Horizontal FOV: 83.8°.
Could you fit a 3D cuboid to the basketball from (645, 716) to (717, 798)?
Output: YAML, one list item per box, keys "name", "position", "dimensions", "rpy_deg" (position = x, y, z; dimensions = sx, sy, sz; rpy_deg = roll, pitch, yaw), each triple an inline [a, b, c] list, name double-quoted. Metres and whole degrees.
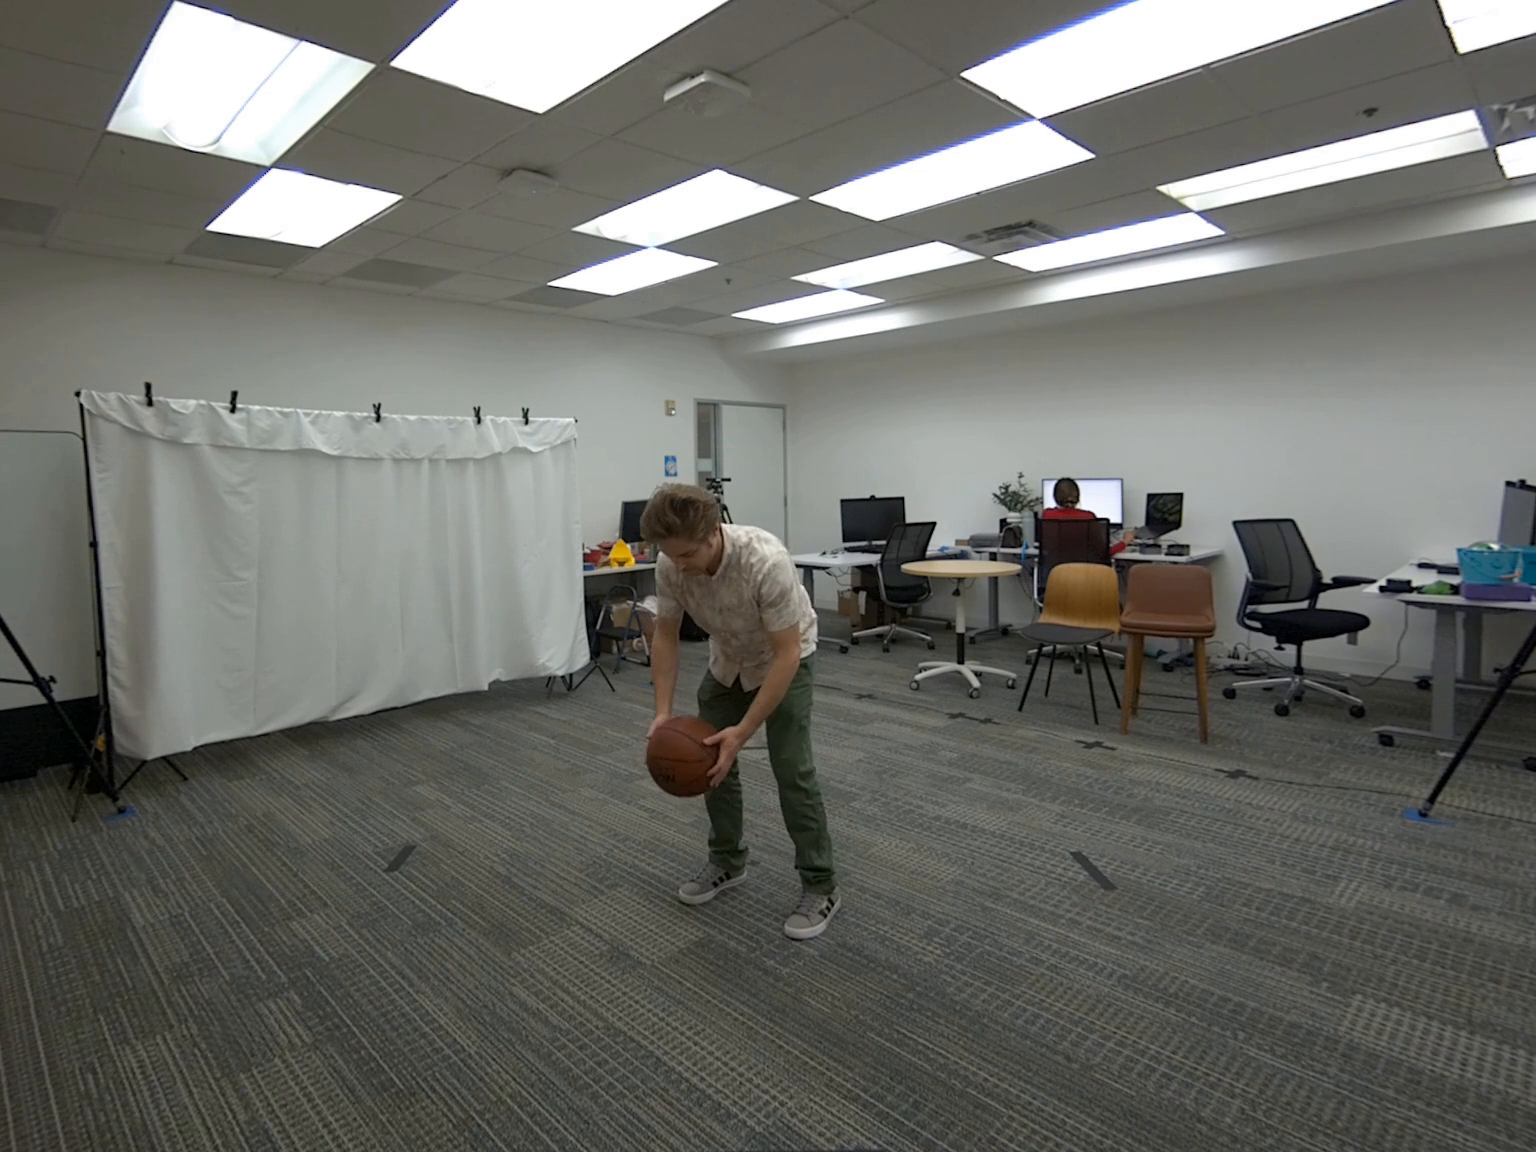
- name: "basketball"
  position: [-0.245, 0.543, 2.568]
  dimensions: [0.236, 0.235, 0.237]
  rpy_deg: [-1, 5, -2]
